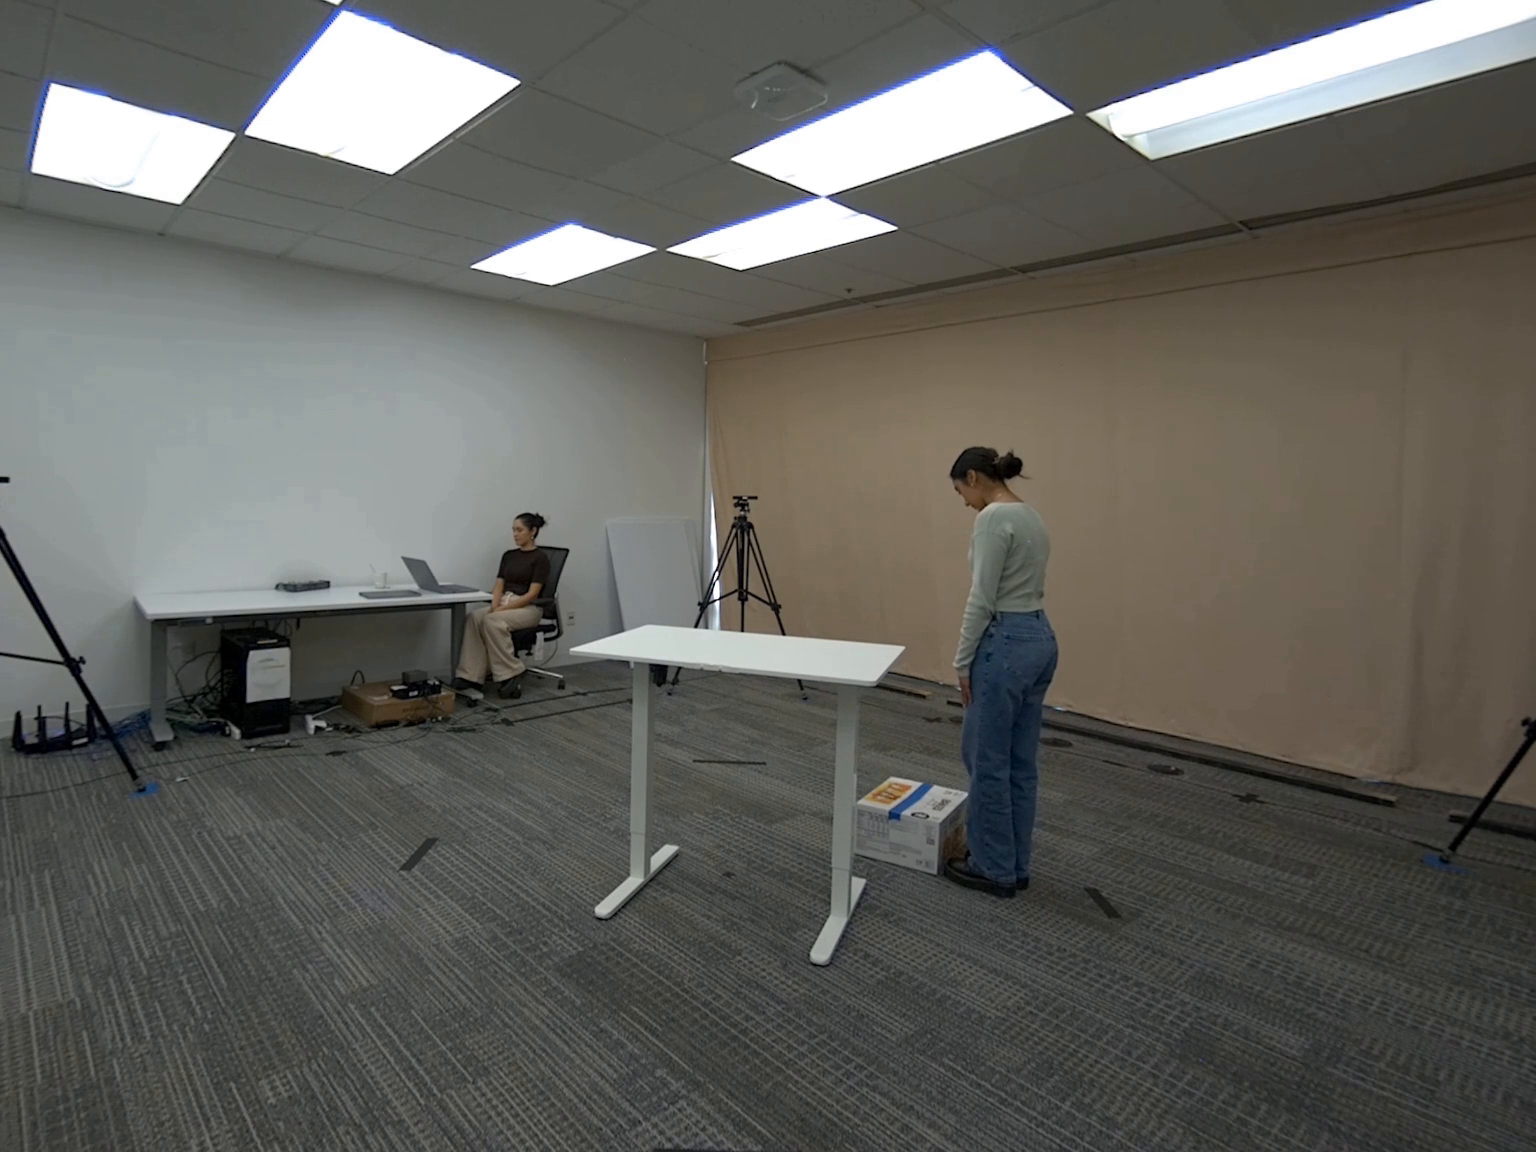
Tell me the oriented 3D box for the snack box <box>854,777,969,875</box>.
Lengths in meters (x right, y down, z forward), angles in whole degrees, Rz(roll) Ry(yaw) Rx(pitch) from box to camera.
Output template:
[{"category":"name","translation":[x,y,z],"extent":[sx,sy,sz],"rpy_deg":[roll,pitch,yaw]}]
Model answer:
[{"category":"snack box","translation":[0.579,0.993,3.389],"extent":[0.348,0.205,0.397],"rpy_deg":[4,5,30]}]
